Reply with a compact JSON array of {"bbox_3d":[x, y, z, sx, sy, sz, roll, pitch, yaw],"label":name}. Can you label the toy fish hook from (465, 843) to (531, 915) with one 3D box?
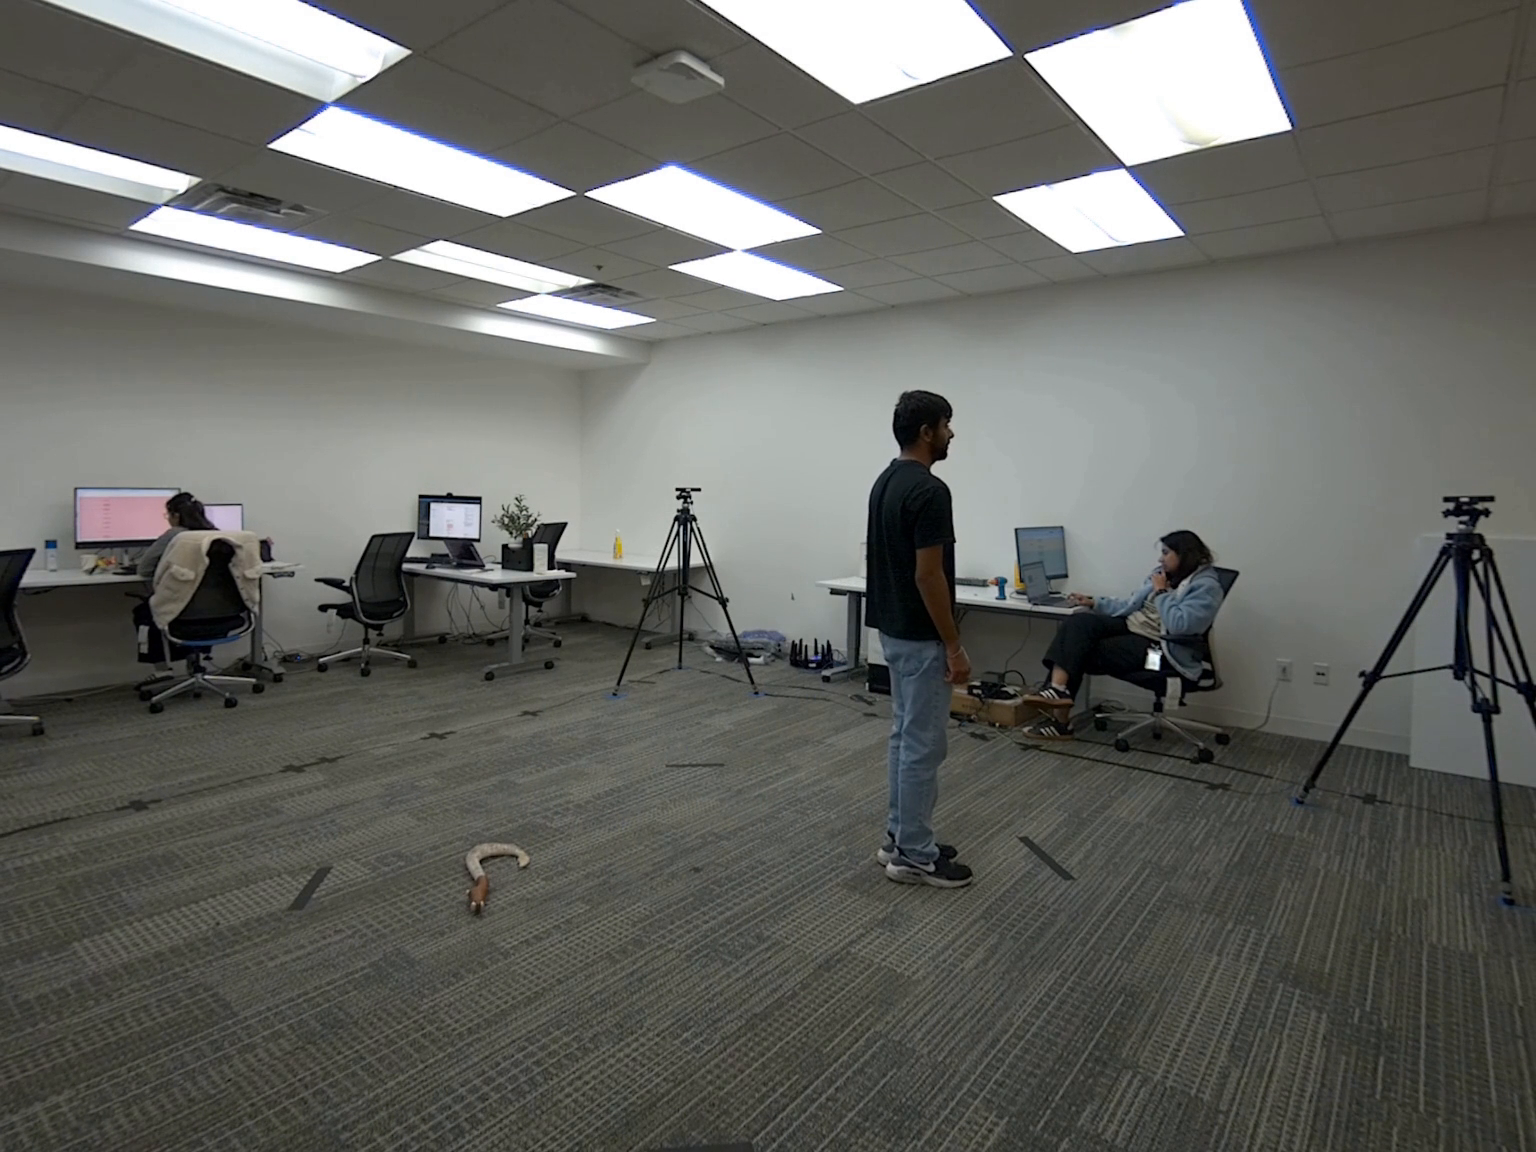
[{"bbox_3d":[-0.966,1.044,2.994,0.222,0.048,0.516,-2,6,-14],"label":"toy fish hook"}]
